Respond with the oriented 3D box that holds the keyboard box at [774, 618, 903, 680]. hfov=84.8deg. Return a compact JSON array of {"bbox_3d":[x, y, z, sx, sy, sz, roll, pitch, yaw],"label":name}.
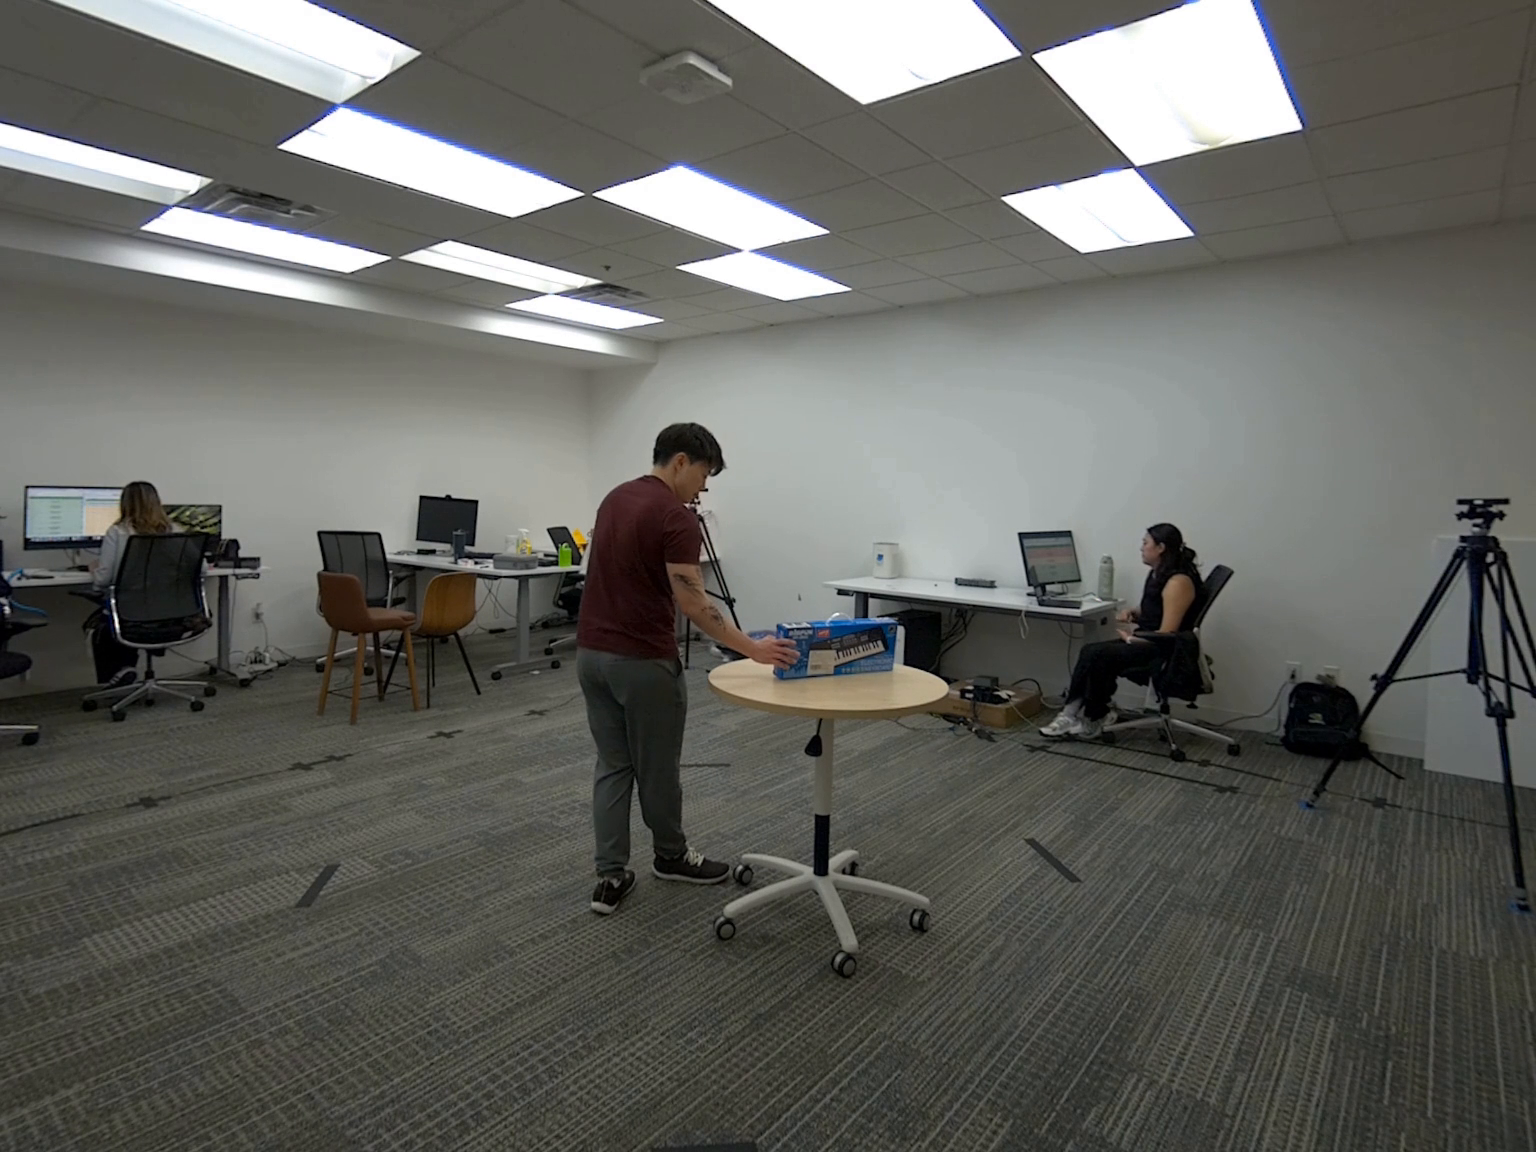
[{"bbox_3d":[0.220,0.241,2.818,0.427,0.174,0.061,-1,12,-23],"label":"keyboard box"}]
